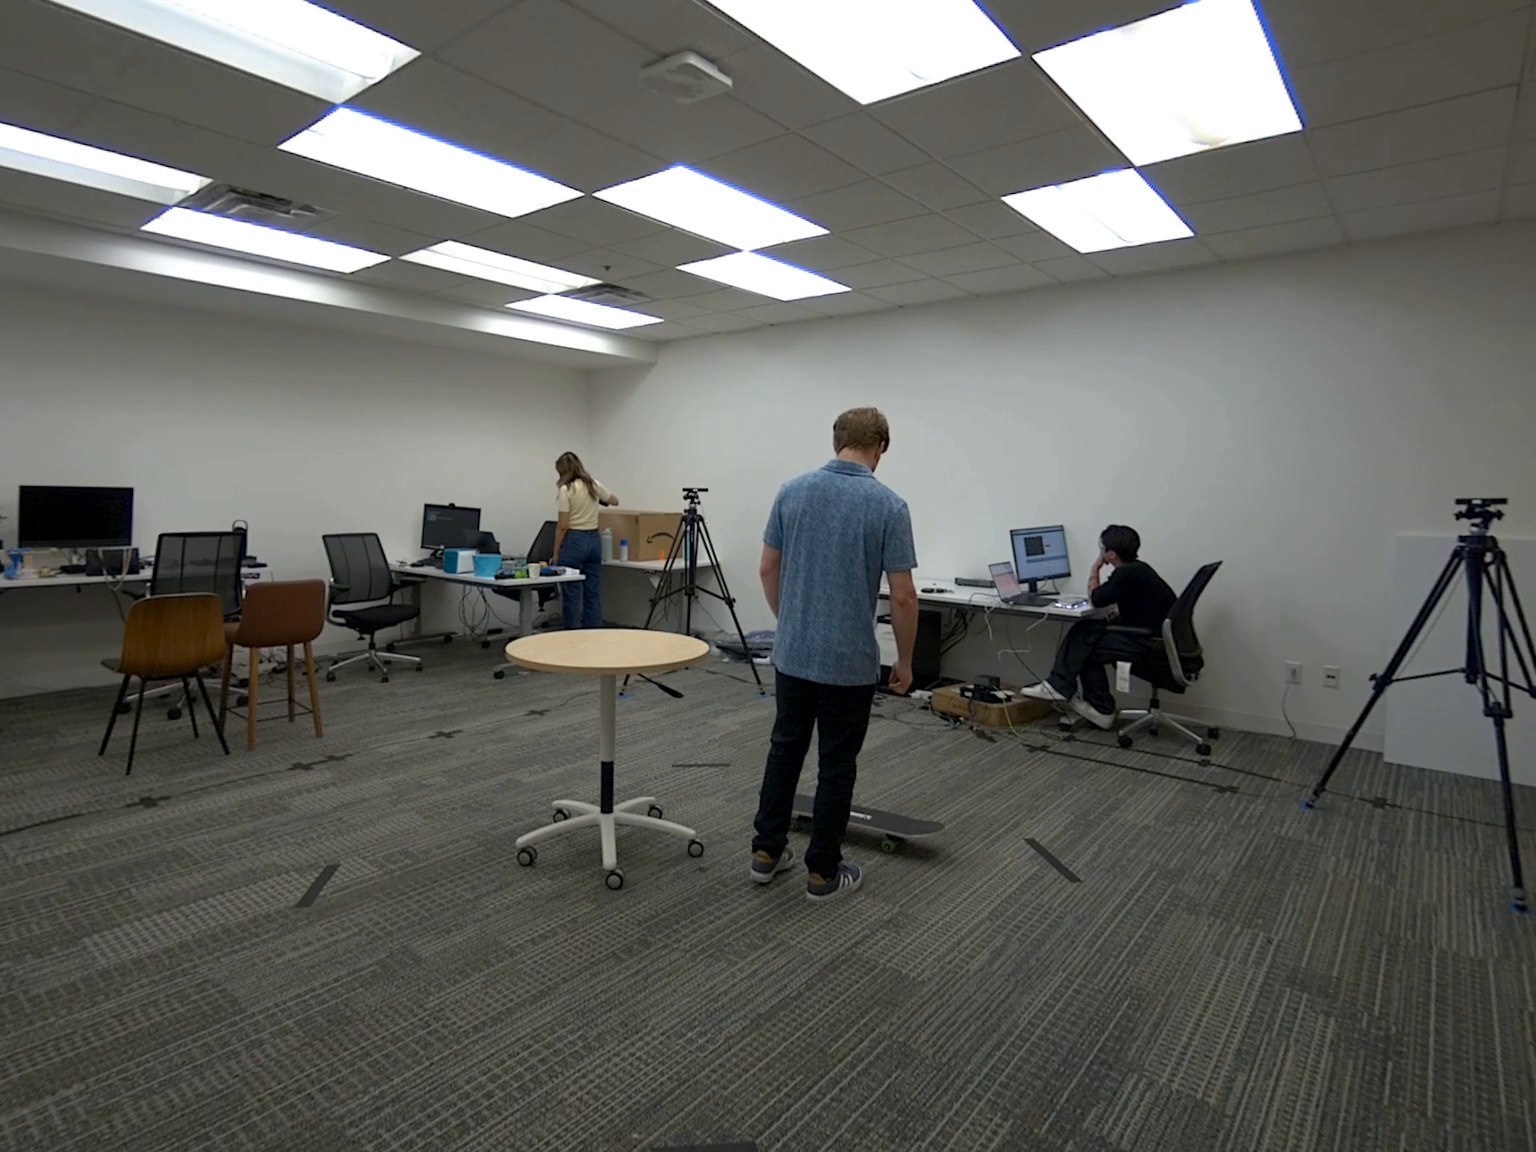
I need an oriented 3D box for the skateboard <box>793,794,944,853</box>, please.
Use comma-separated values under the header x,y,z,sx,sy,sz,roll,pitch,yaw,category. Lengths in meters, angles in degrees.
x,y,z,sx,sy,sz,roll,pitch,yaw,category
0.309,0.984,3.455,0.807,0.110,0.189,4,6,27,skateboard
